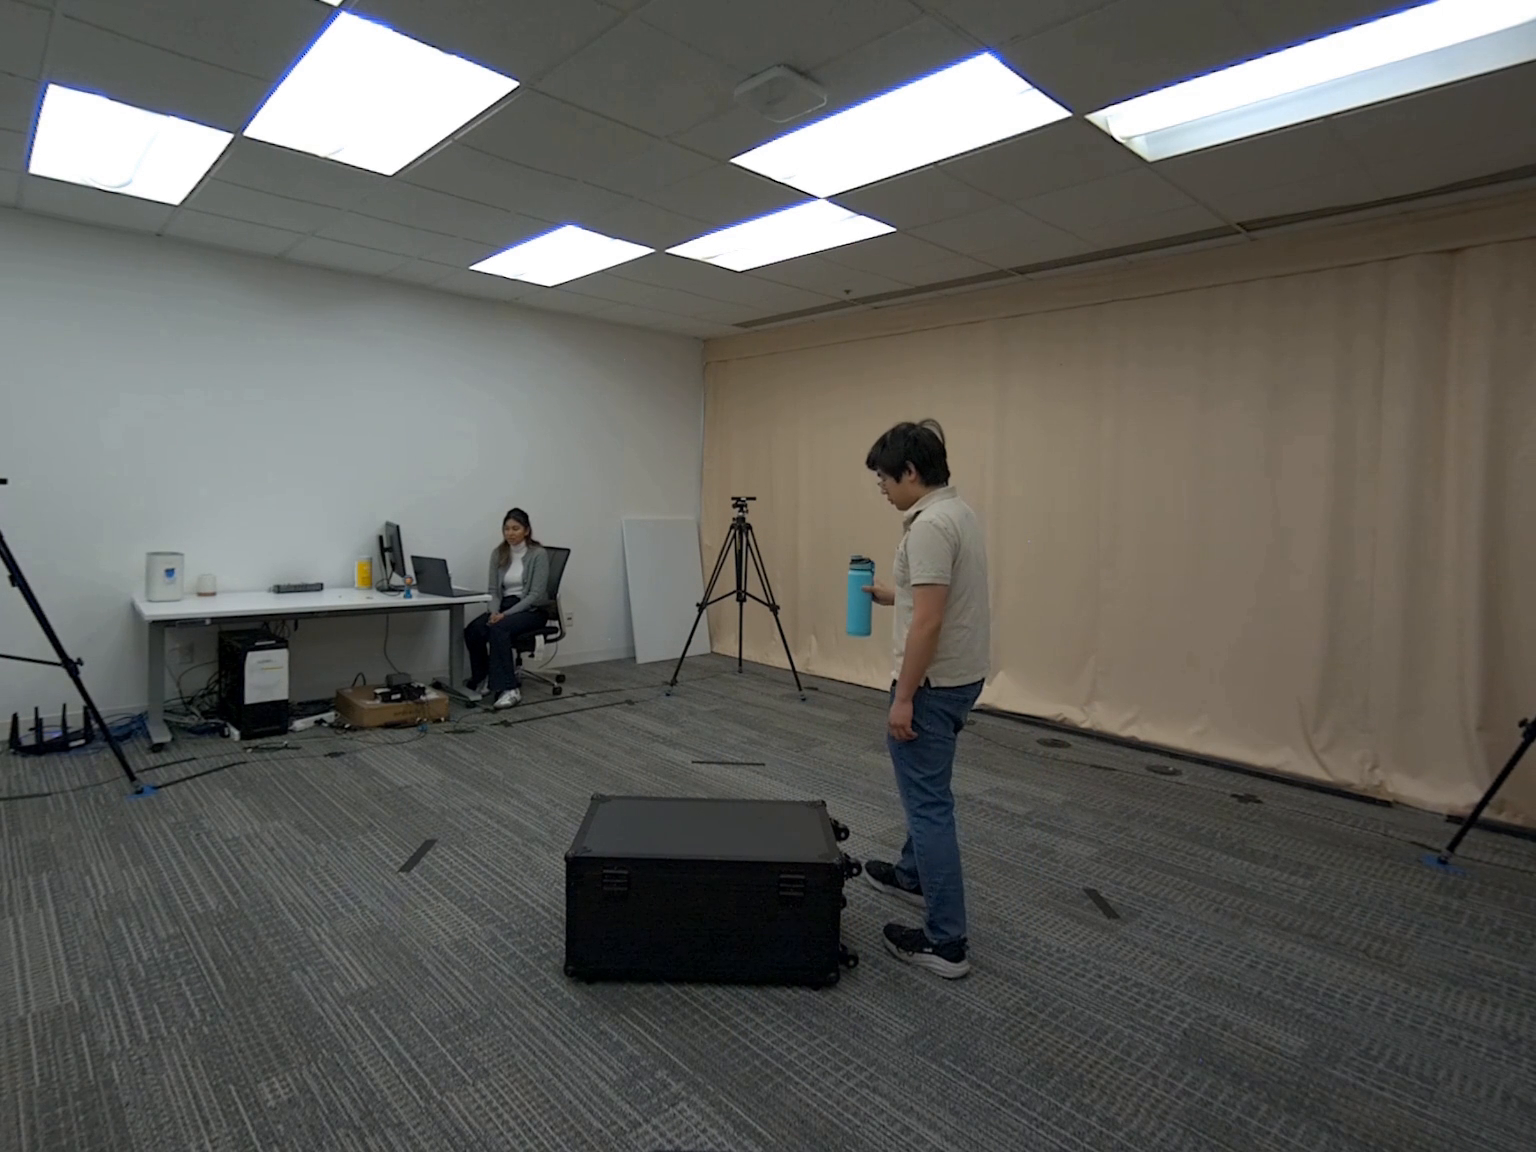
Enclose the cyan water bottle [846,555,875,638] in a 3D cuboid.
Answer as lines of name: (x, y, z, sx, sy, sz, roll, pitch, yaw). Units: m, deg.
cyan water bottle: (0.318, 0.064, 2.960, 0.092, 0.282, 0.092, -1, 4, -1)
